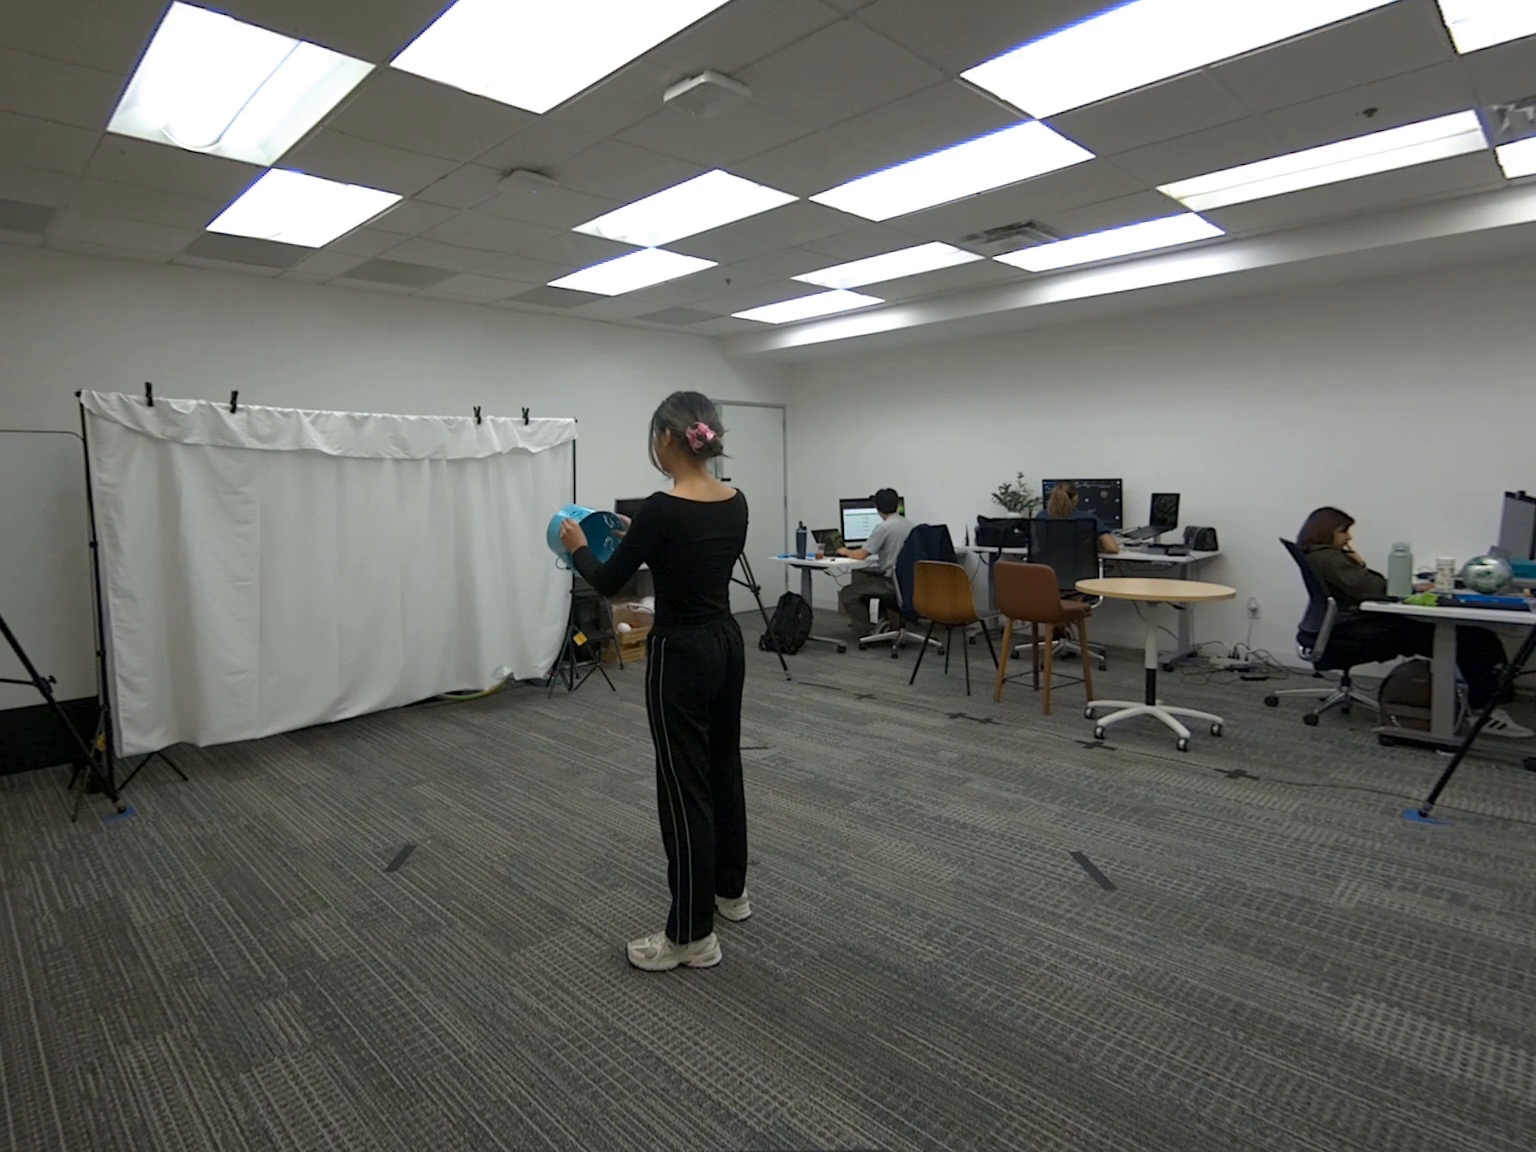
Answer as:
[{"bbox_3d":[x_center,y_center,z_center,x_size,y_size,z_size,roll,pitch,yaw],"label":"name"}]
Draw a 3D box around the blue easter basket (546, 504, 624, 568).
[{"bbox_3d":[-0.600,-0.125,2.784,0.161,0.241,0.237,18,16,41],"label":"blue easter basket"}]
